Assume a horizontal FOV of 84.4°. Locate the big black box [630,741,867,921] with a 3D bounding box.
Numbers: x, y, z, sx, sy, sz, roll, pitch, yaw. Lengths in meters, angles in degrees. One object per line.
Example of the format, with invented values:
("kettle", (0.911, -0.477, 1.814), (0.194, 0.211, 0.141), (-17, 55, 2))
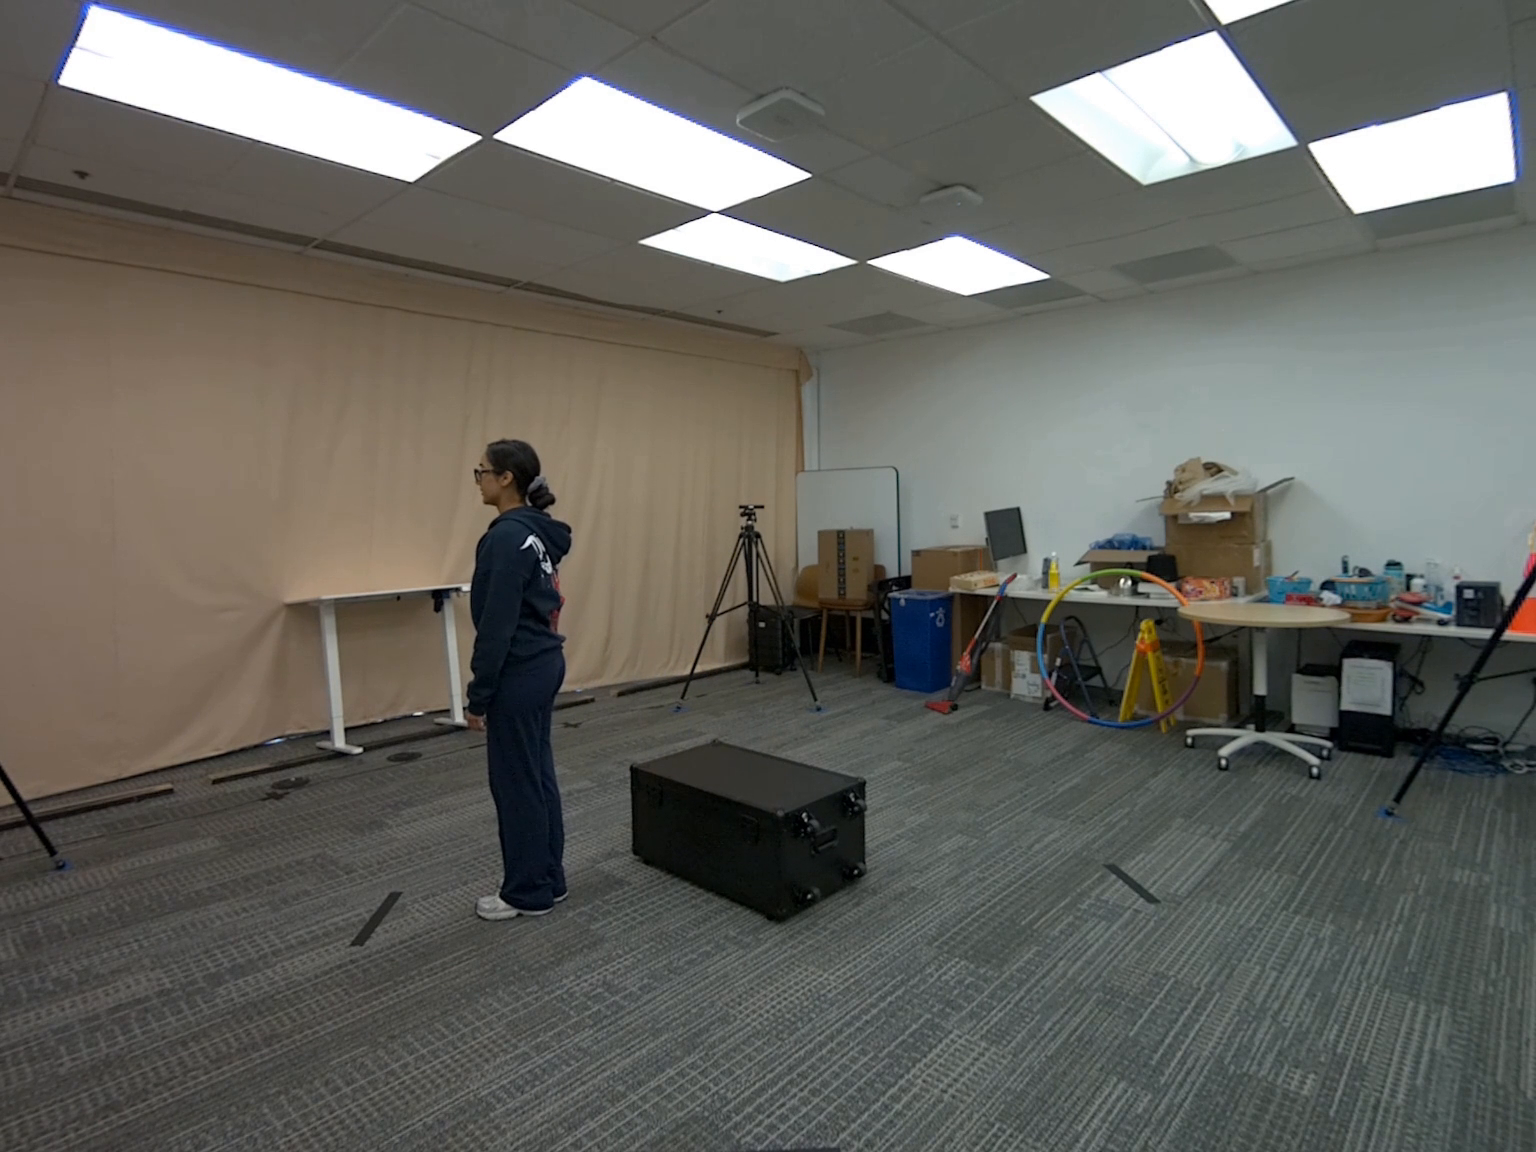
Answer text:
("big black box", (-0.065, 0.933, 3.190), (0.890, 0.395, 0.506), (2, 6, 43))
